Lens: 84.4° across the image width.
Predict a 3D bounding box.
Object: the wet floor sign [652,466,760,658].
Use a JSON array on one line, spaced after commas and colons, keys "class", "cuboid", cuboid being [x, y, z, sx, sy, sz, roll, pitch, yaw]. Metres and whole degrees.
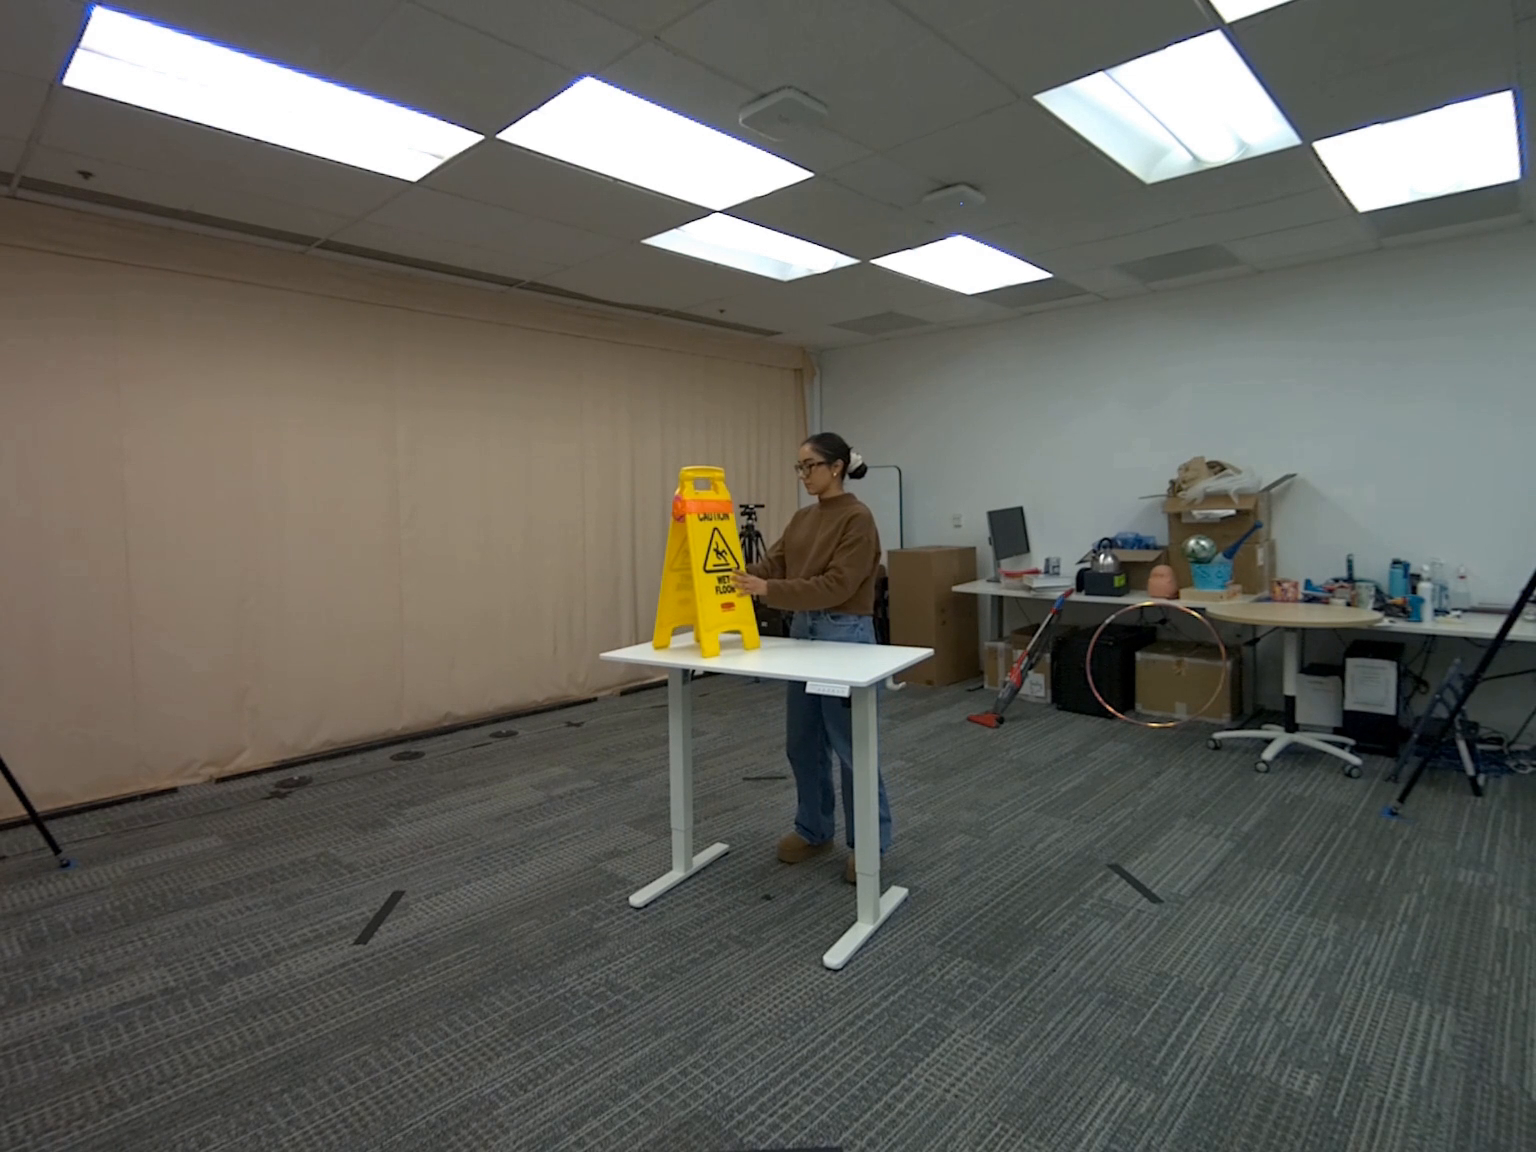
[{"class": "wet floor sign", "cuboid": [-0.219, -0.060, 2.997, 0.299, 0.644, 0.274, 2, 5, 44]}]
